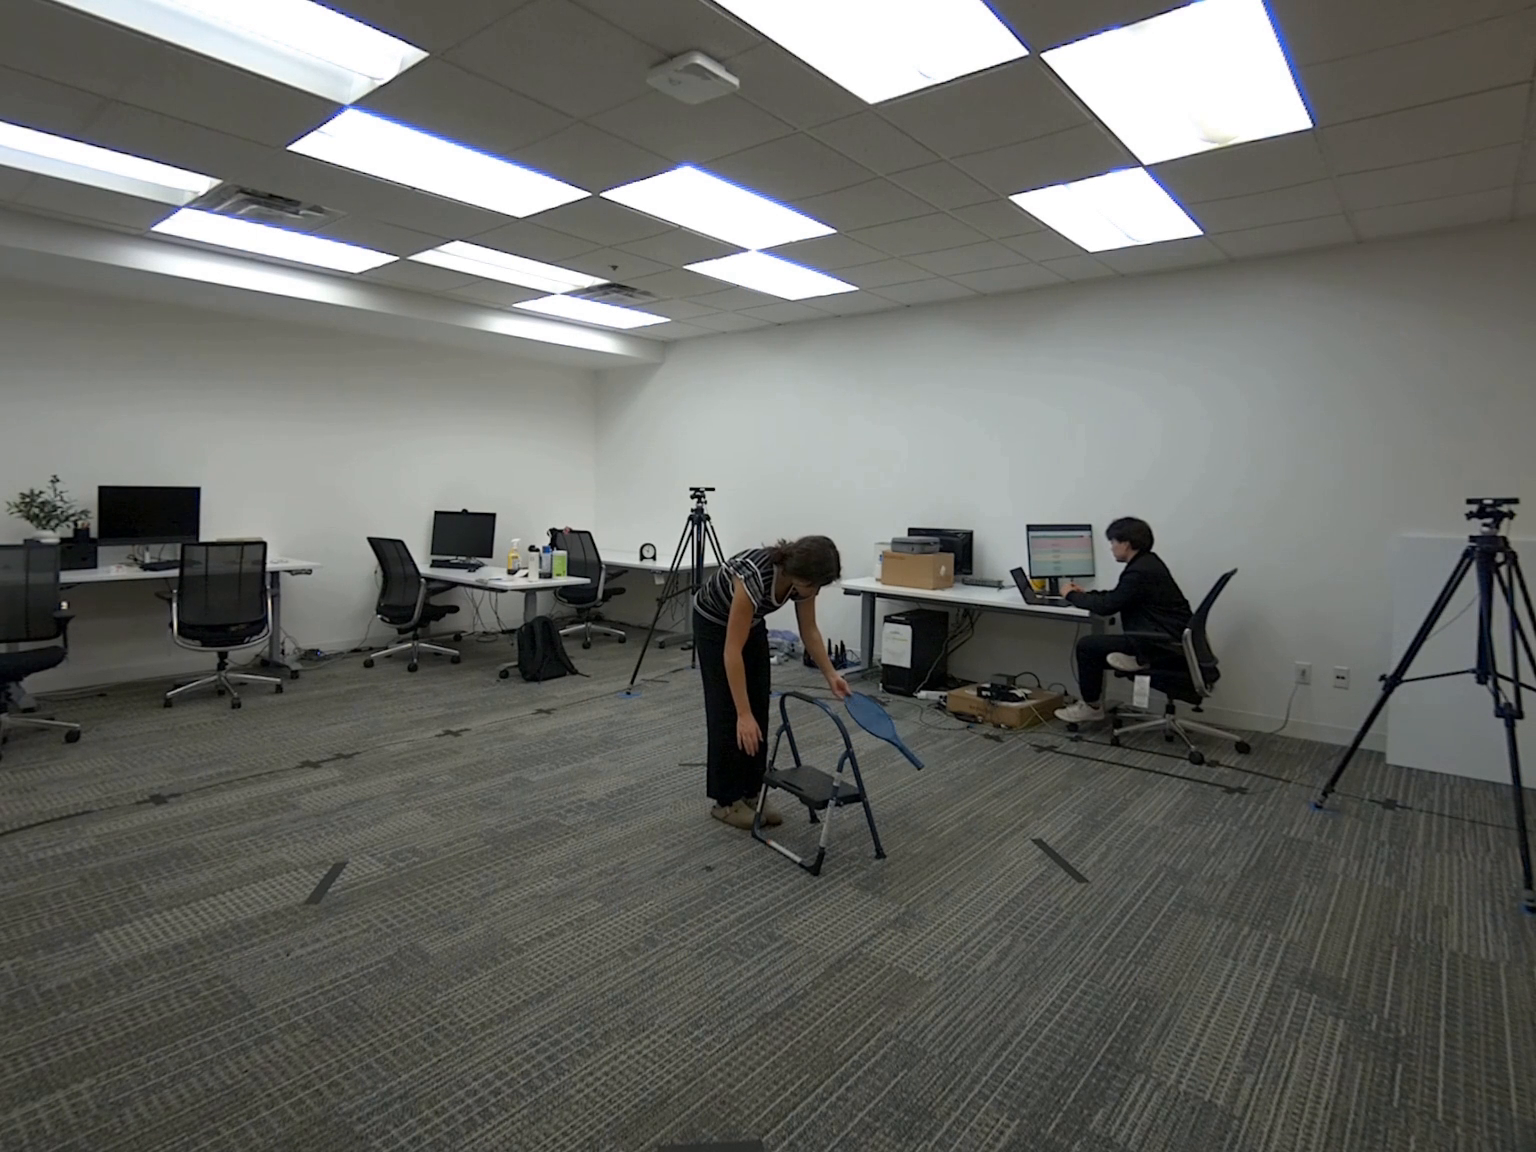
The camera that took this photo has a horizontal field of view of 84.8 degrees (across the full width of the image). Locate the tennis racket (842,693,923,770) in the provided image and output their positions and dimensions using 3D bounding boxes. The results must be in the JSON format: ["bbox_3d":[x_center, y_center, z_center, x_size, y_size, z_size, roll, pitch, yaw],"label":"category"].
[{"bbox_3d":[0.471,0.646,3.554,0.447,0.031,0.208,45,32,23],"label":"tennis racket"}]
